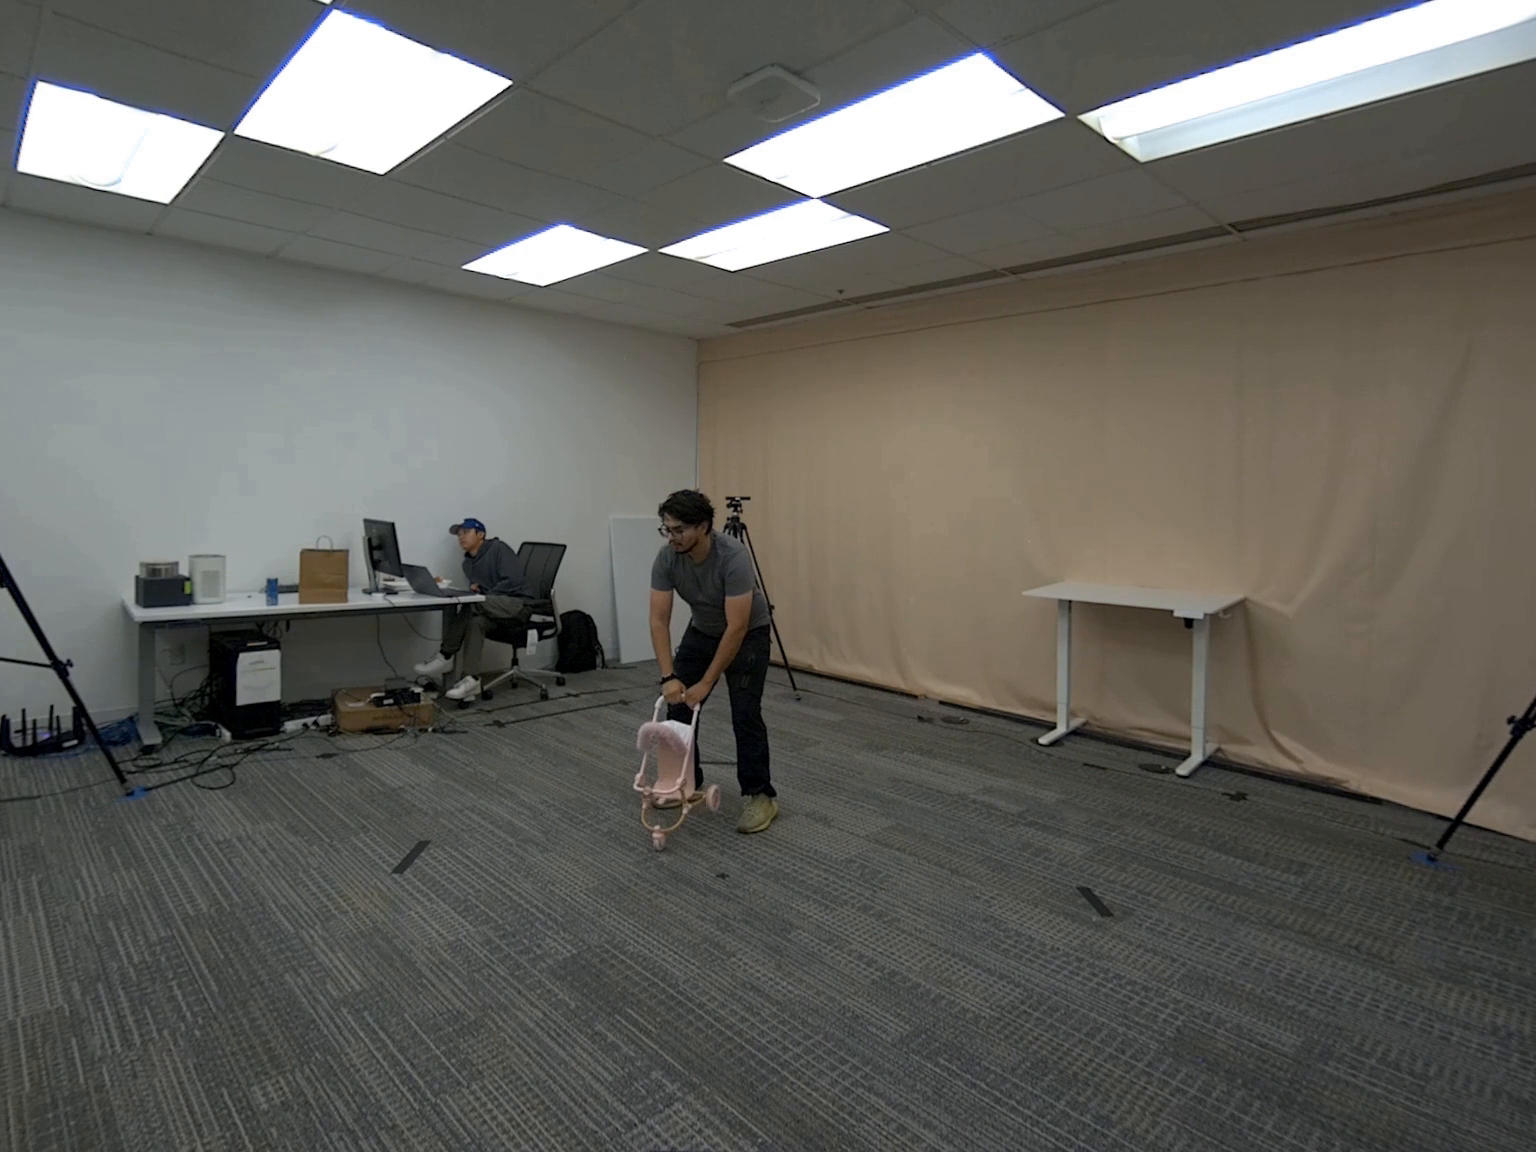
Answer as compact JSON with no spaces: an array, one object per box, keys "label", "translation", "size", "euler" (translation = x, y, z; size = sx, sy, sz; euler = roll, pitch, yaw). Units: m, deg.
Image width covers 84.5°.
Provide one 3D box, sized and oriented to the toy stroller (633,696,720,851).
[{"label":"toy stroller","translation":[-0.418,0.794,3.388],"size":[0.287,0.530,0.337],"euler":[1,13,29]}]
